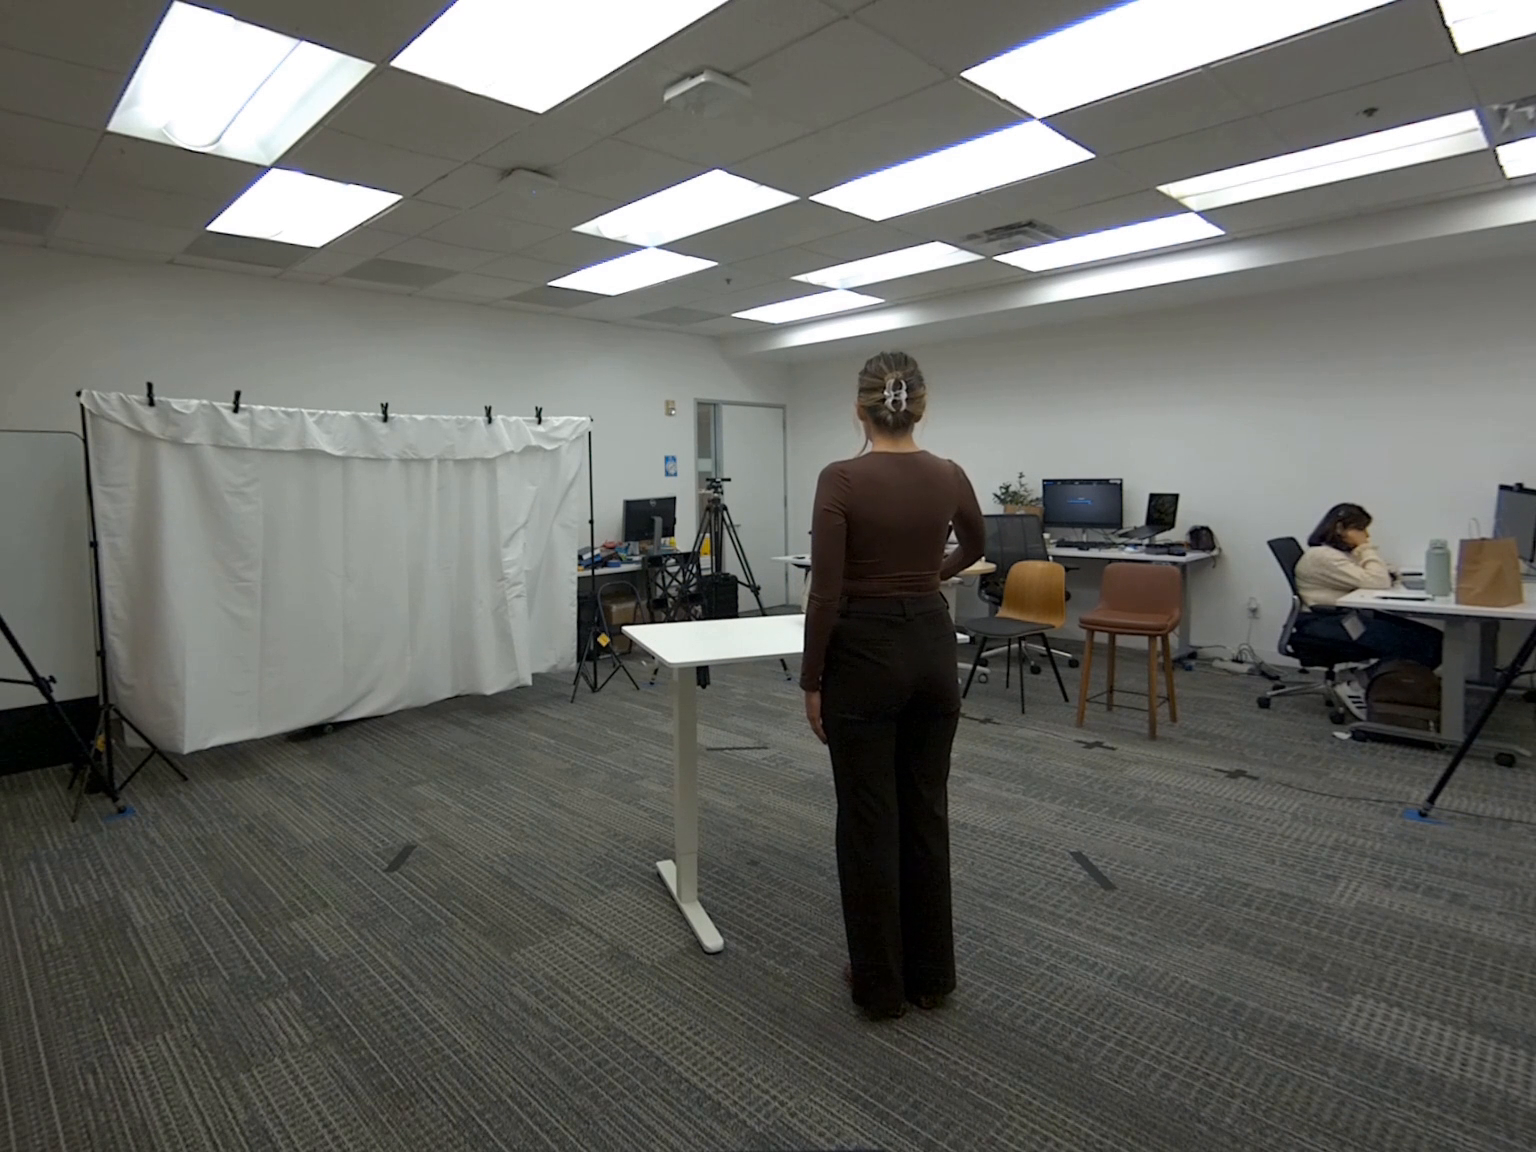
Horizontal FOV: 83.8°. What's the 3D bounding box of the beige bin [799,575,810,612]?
[{"bbox_3d":[0.383,0.090,2.916,0.370,0.188,0.432,-2,6,-23],"label":"beige bin"}]
